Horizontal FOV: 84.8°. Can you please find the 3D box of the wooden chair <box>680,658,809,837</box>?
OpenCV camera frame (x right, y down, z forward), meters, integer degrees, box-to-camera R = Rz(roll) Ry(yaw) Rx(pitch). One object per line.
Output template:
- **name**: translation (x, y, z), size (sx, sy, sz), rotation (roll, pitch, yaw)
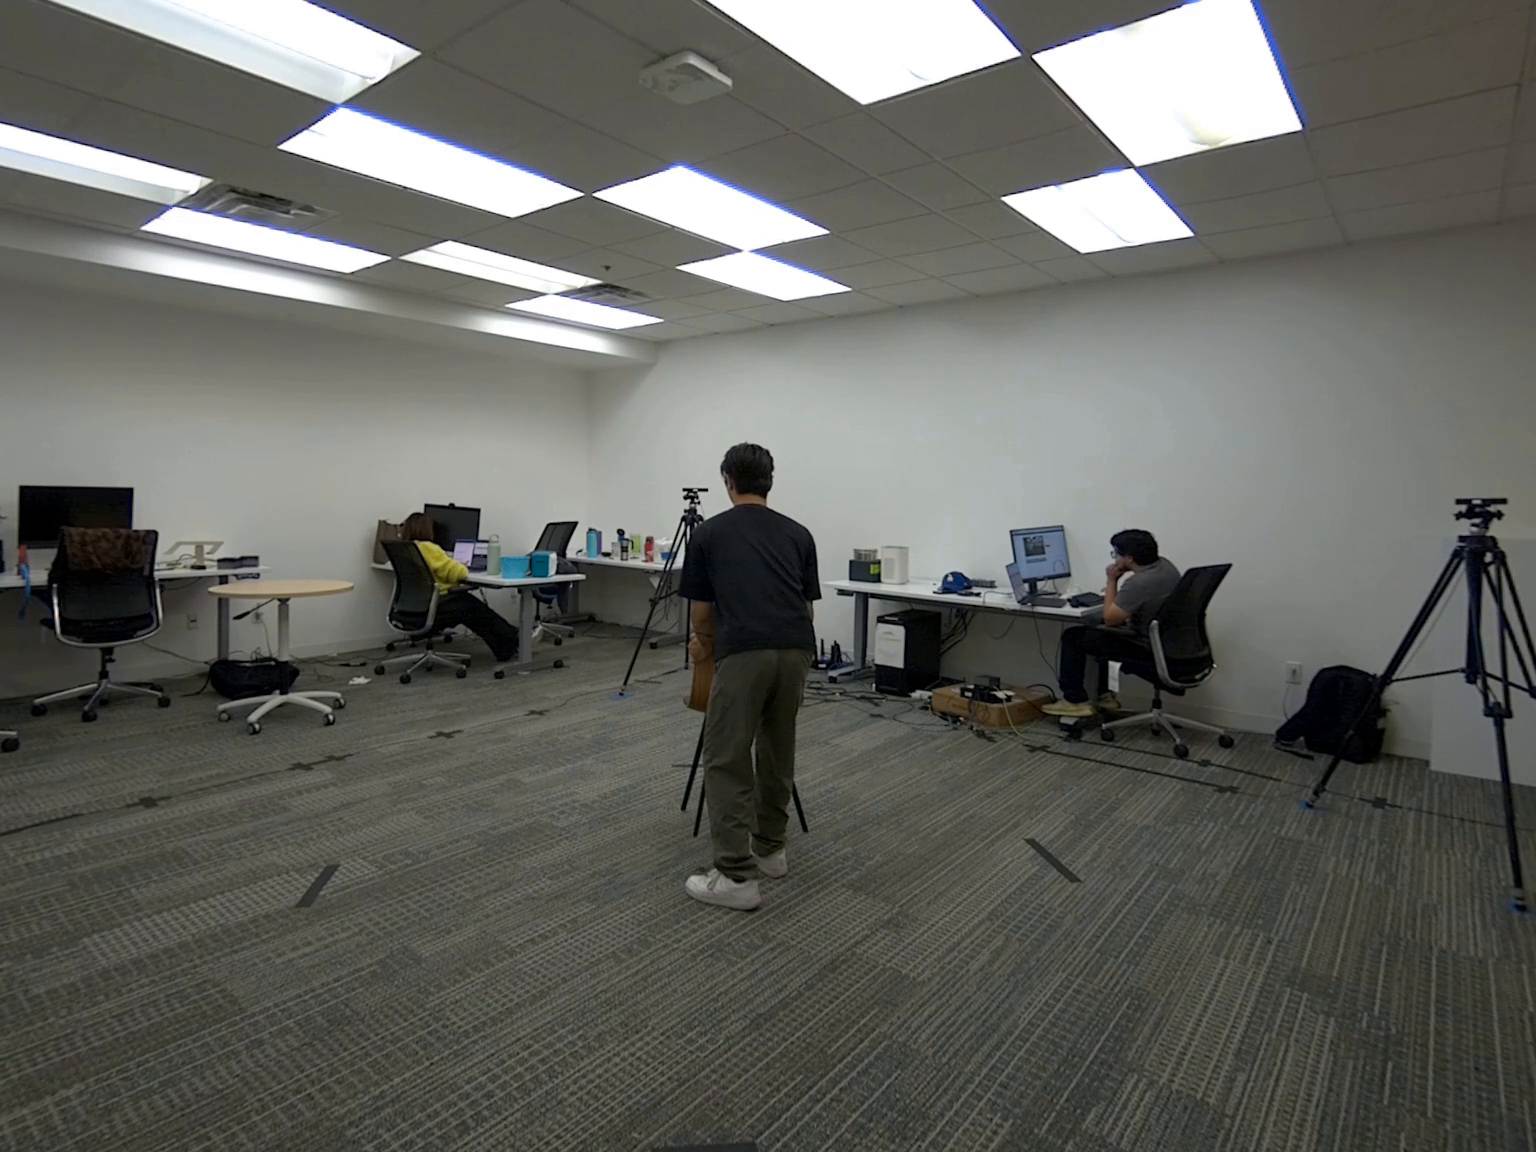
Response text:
- **wooden chair**: translation (-0.129, 0.572, 3.533), size (0.474, 0.878, 0.528), rotation (-1, 0, -10)
